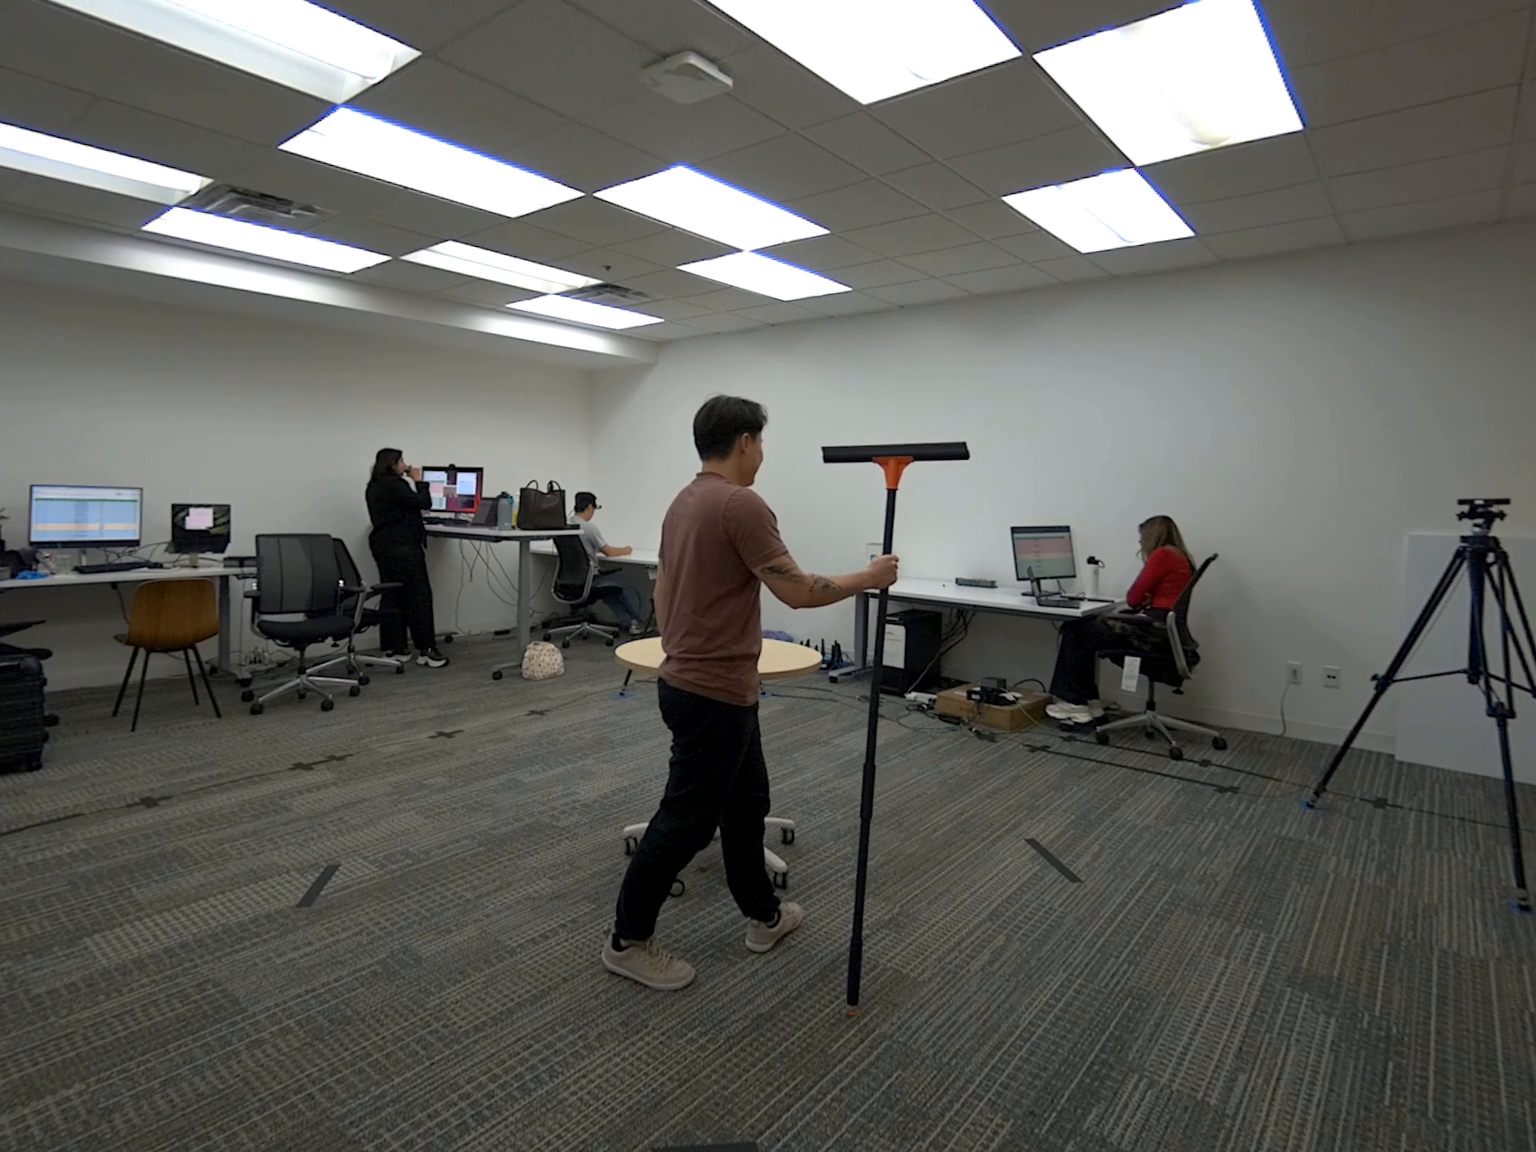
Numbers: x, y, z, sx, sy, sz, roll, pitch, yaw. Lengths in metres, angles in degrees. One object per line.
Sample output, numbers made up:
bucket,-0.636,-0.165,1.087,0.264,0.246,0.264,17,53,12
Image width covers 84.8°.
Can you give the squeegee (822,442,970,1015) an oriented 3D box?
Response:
squeegee,0.288,0.396,2.346,0.451,1.545,0.051,2,-7,36
